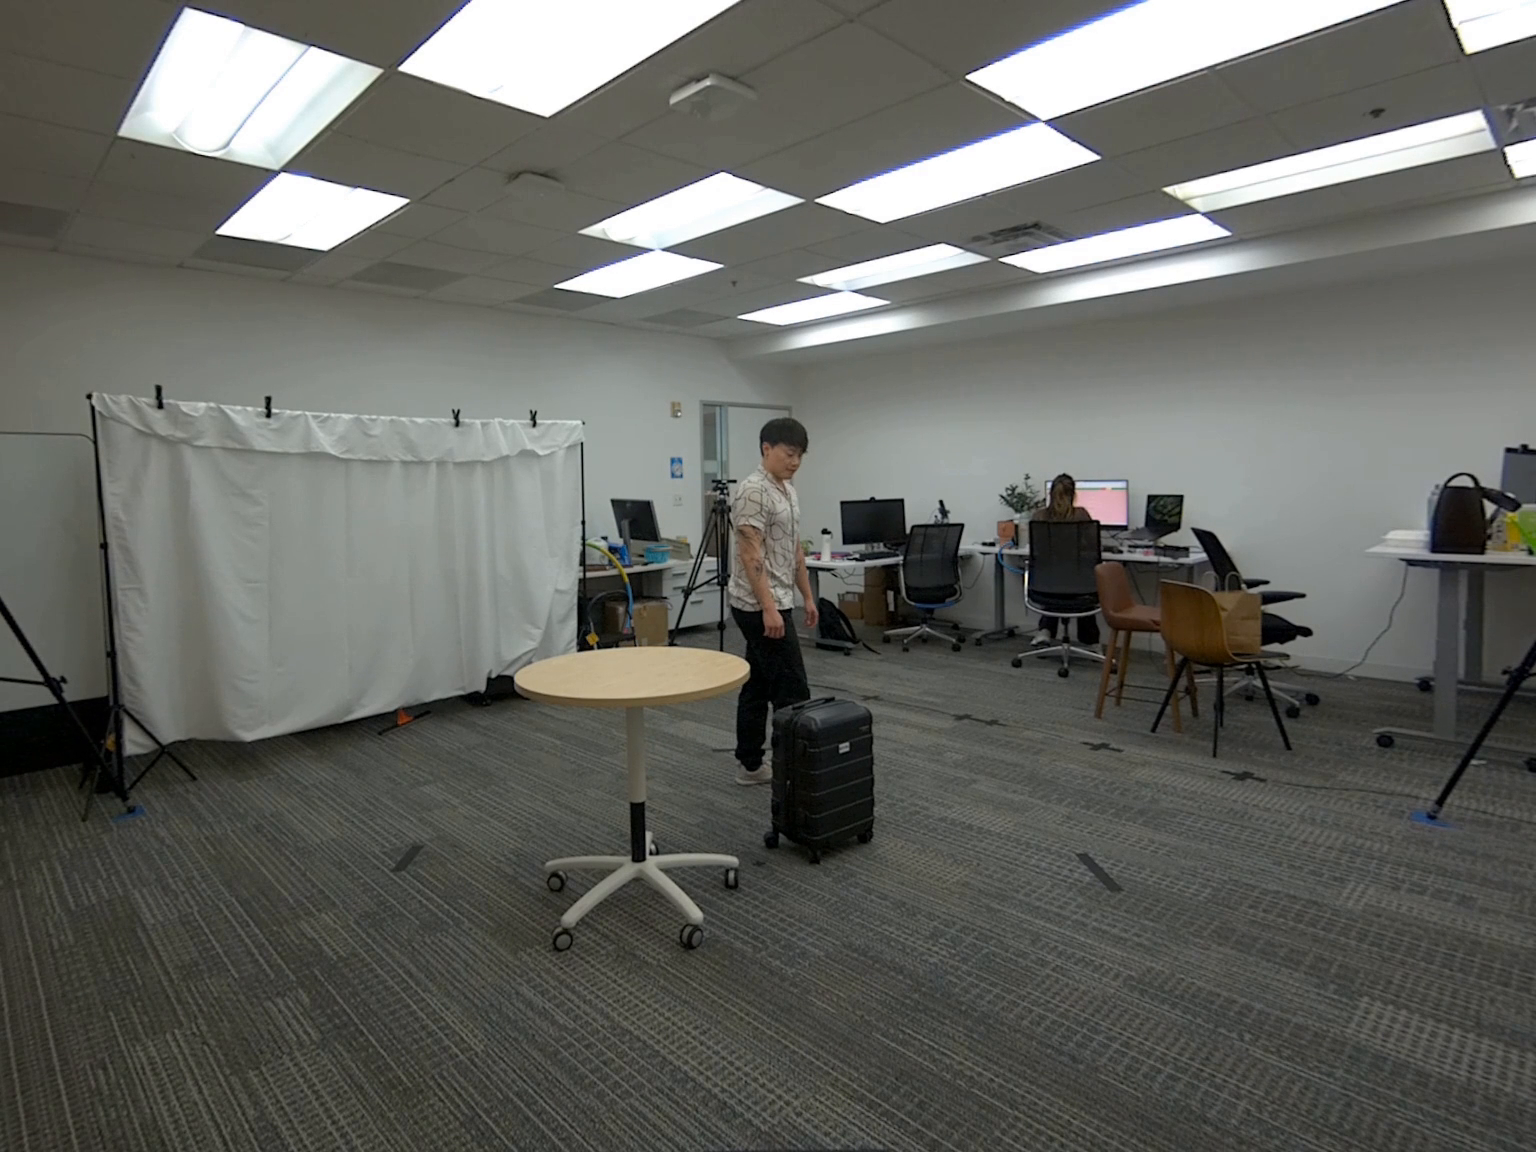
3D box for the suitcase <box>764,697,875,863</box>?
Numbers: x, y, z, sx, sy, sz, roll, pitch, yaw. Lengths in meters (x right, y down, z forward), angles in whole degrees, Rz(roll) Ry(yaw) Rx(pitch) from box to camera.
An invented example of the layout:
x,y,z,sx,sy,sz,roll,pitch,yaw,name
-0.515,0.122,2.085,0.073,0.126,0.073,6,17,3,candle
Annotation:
x,y,z,sx,sy,sz,roll,pitch,yaw,name
0.213,0.750,3.252,0.365,0.547,0.256,-4,7,-39,suitcase
